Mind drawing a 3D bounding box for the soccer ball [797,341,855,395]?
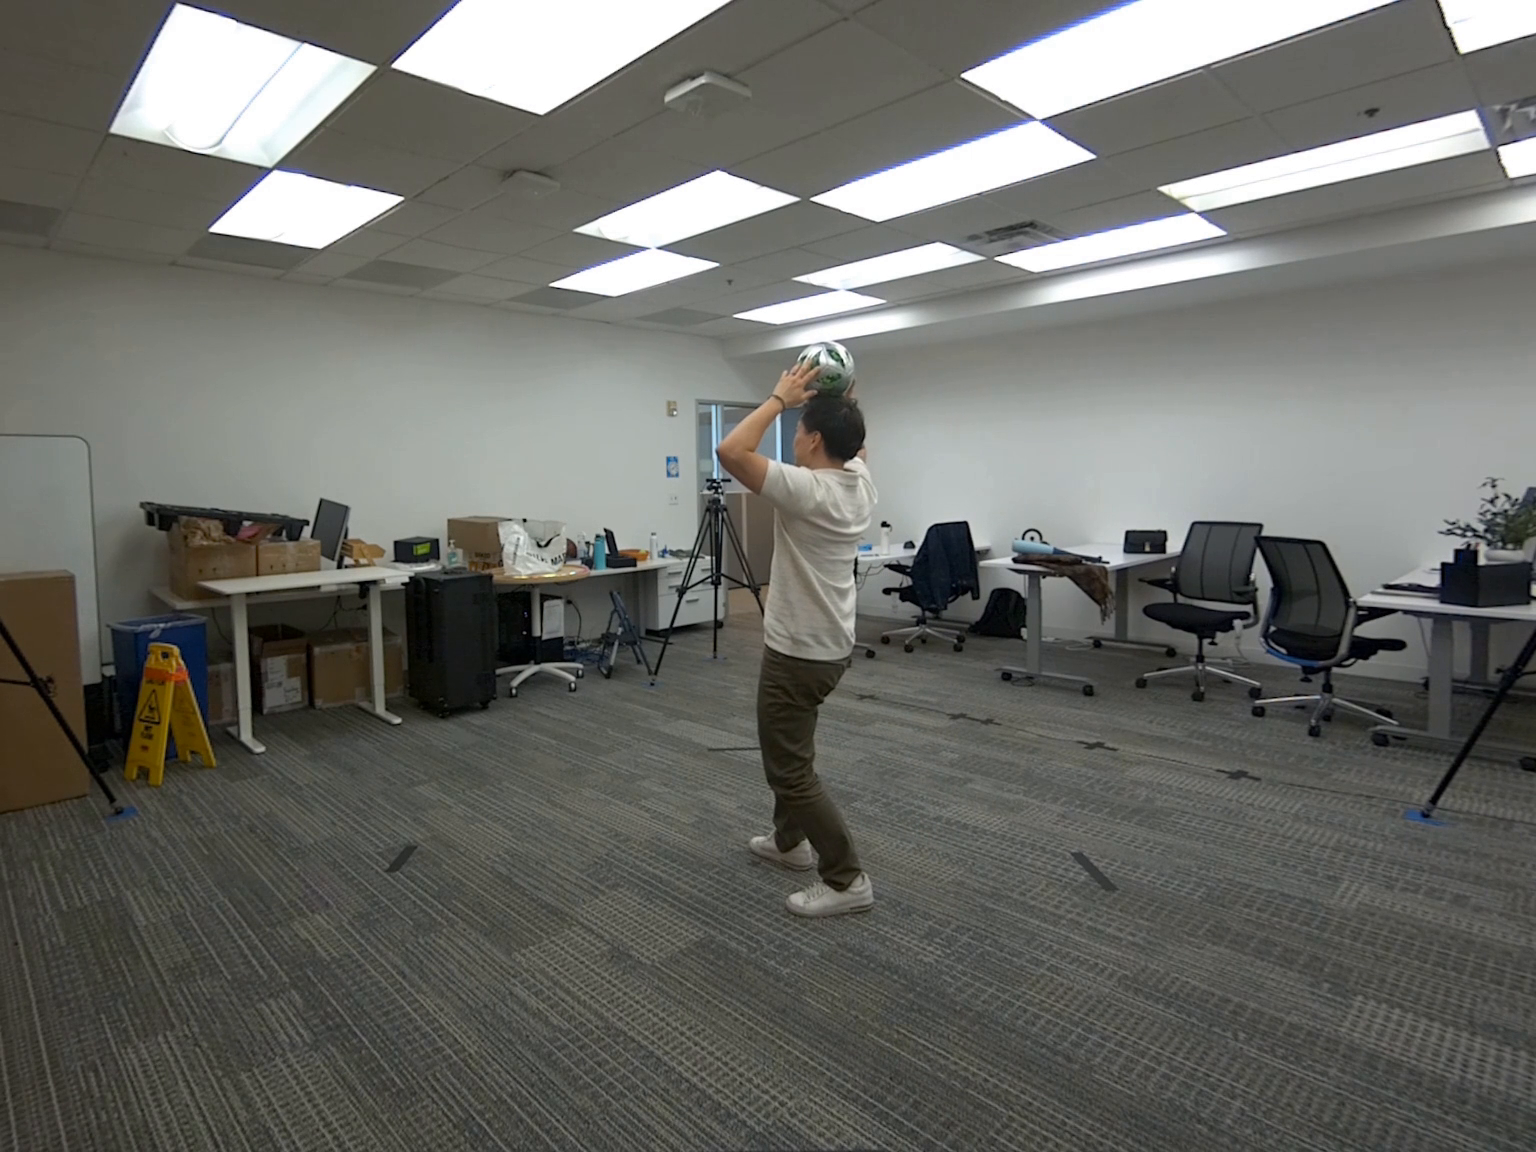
[{"bbox_3d":[0.181,-0.651,2.726,0.187,0.187,0.188,-1,5,-2],"label":"soccer ball"}]
